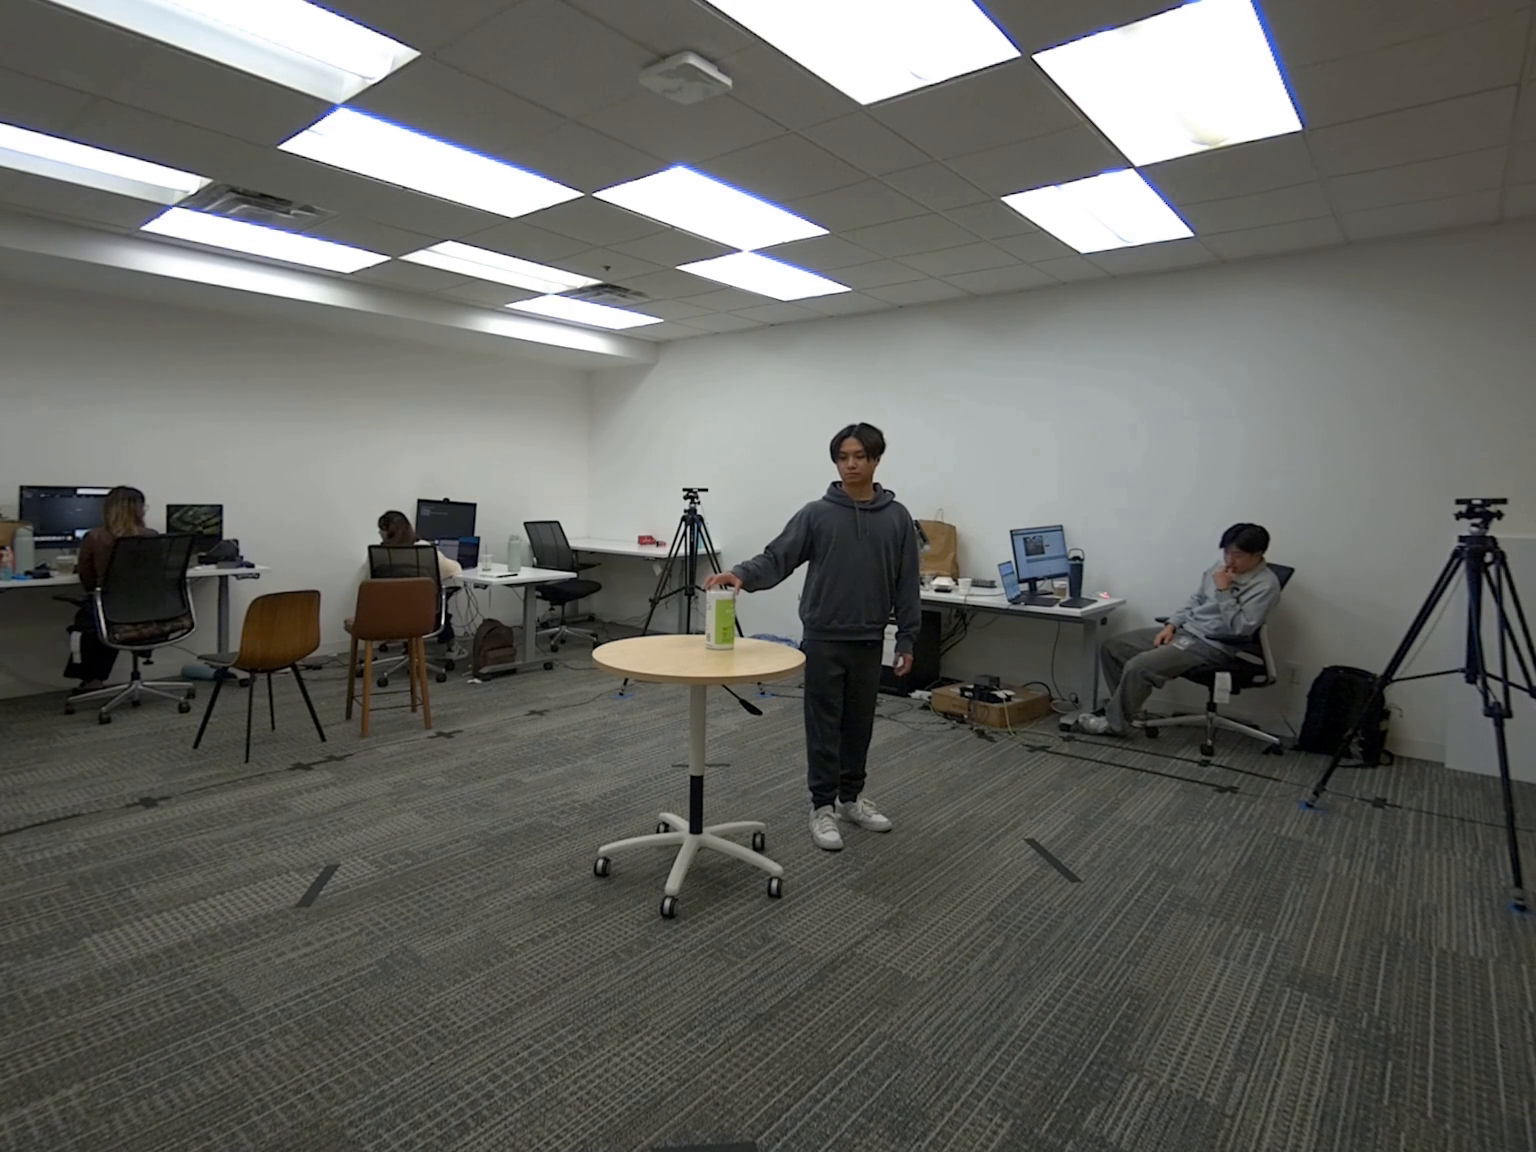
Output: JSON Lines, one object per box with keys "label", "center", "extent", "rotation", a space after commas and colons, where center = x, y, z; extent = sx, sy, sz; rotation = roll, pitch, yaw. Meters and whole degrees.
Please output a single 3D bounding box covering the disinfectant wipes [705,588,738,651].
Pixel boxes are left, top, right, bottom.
{"label": "disinfectant wipes", "center": [-0.196, 0.161, 3.179], "extent": [0.118, 0.217, 0.118], "rotation": [2, 2, -2]}
